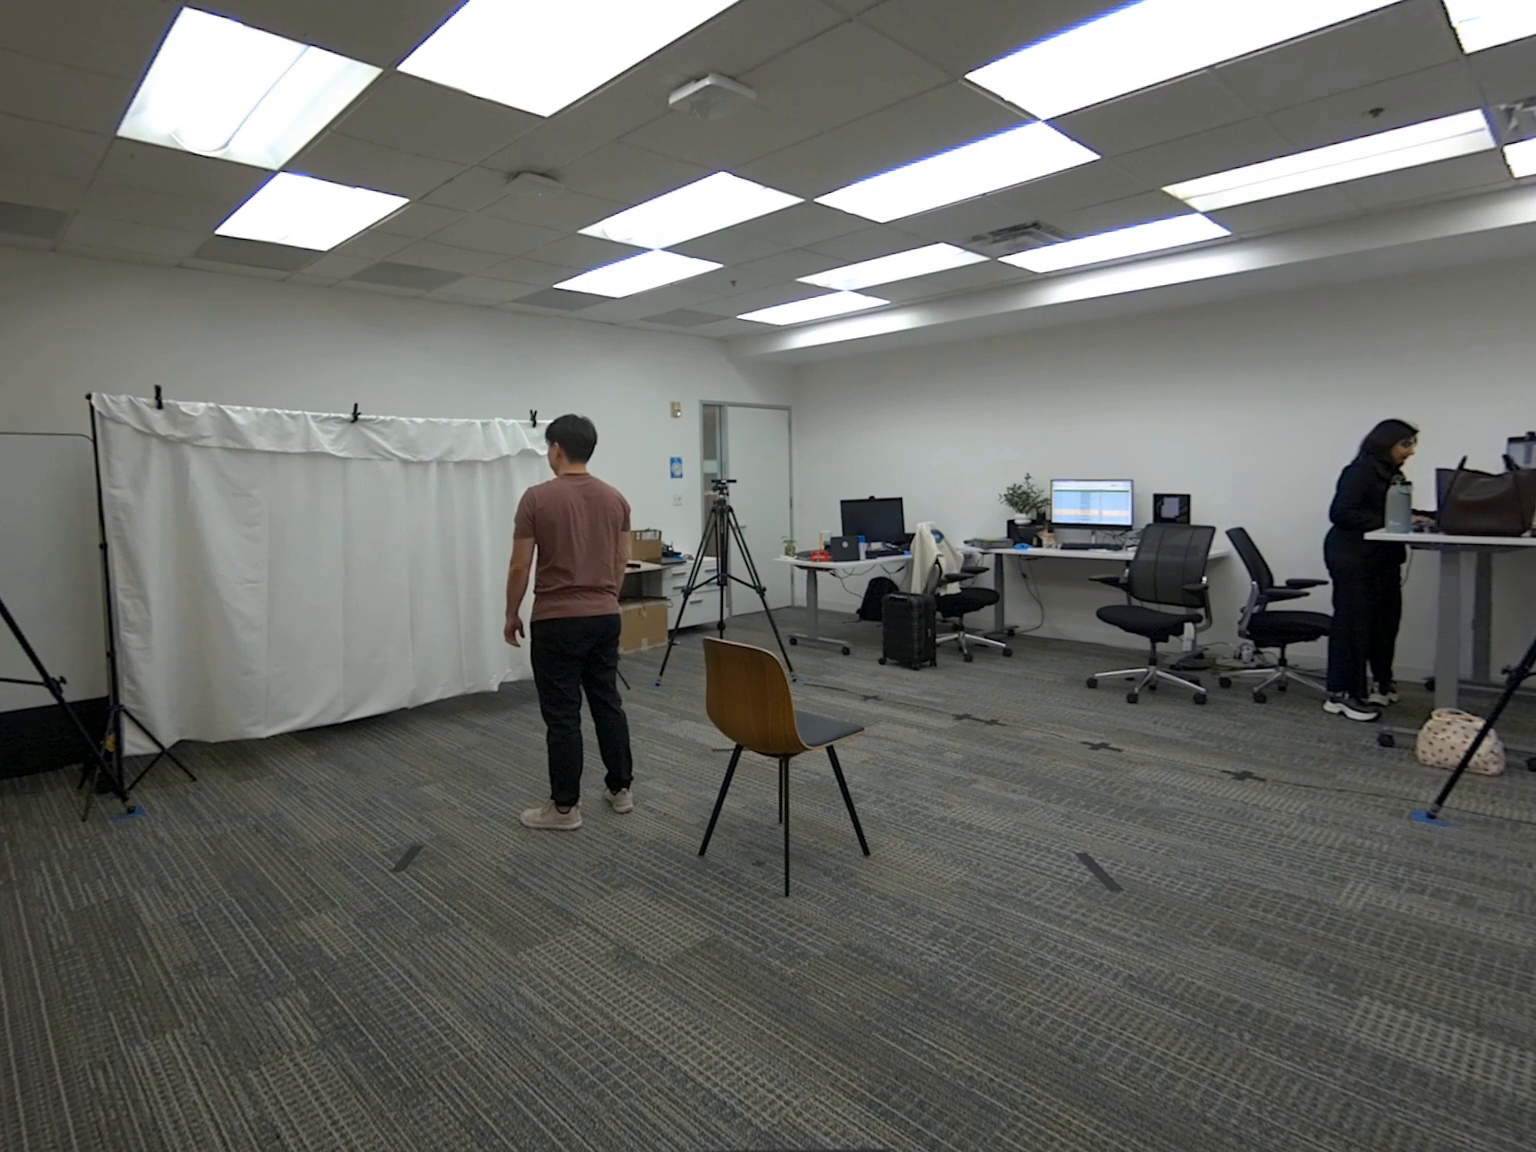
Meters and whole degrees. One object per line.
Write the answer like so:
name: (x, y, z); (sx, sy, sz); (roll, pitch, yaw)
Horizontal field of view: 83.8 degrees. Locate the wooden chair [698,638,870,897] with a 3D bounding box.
wooden chair: (0.059, 0.614, 3.144); (0.511, 0.872, 0.493); (-11, 9, -44)
